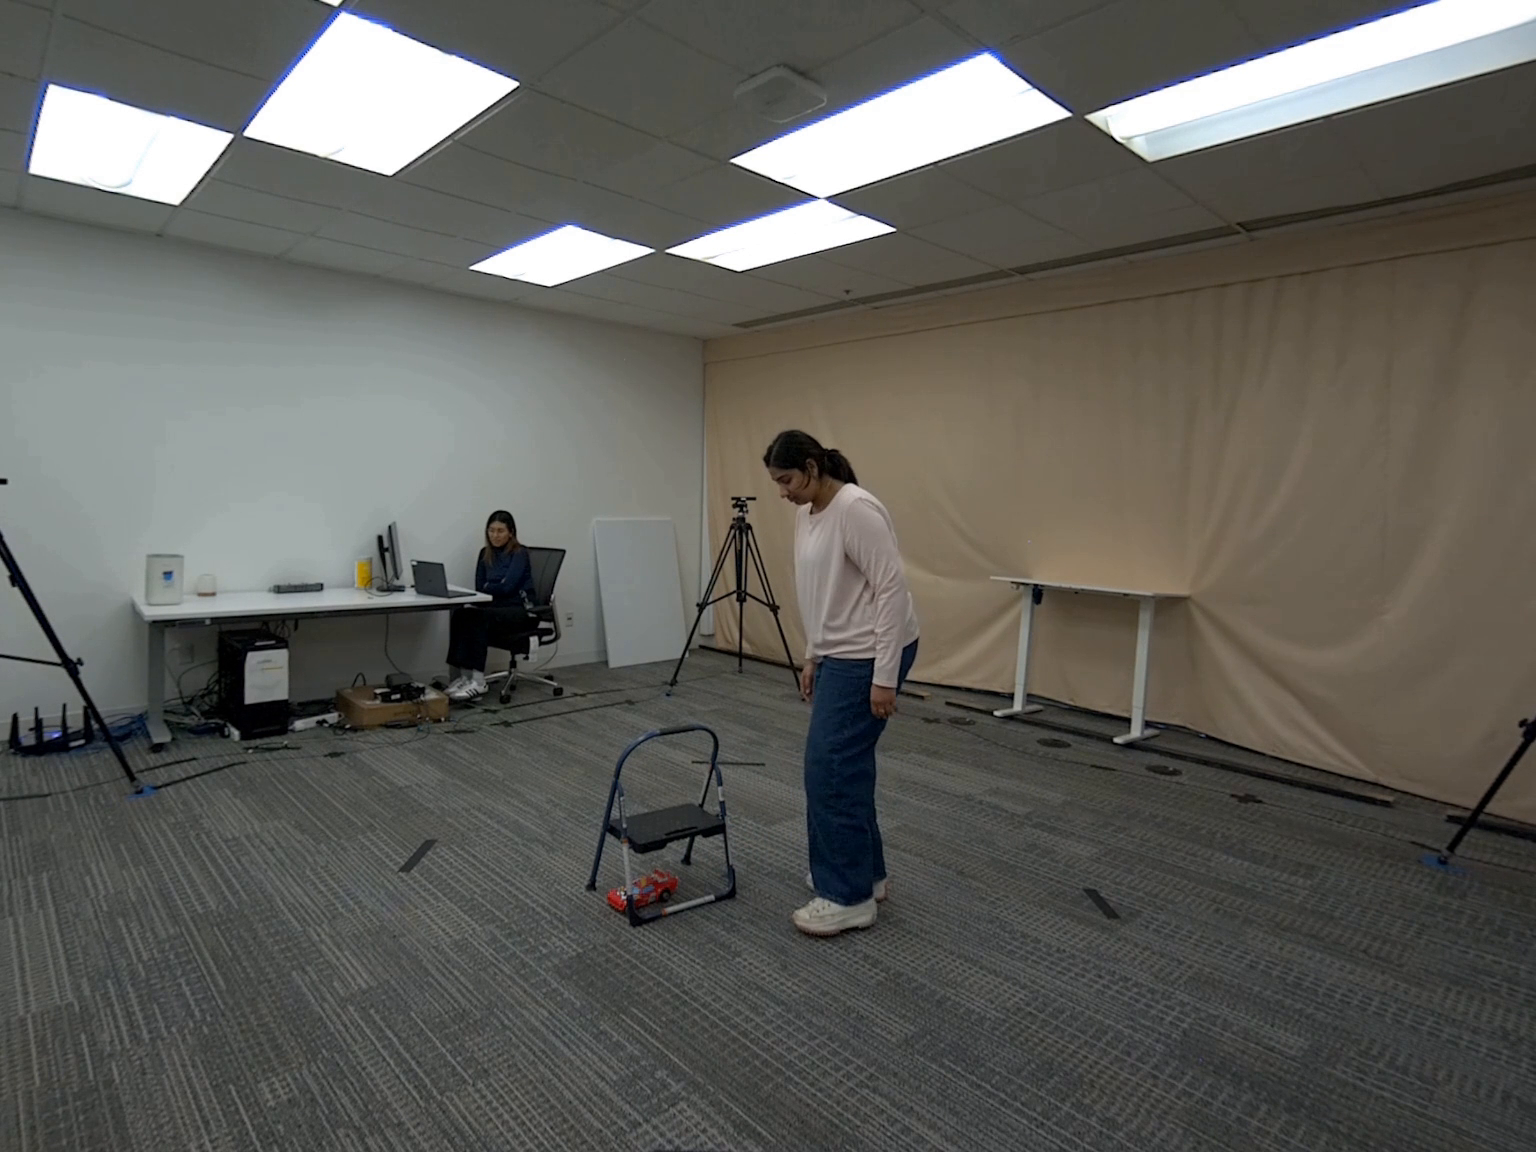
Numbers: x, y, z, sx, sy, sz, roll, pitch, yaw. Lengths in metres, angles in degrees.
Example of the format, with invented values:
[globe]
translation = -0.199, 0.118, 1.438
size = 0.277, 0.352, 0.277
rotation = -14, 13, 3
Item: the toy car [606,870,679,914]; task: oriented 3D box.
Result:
[toy car]
translation = -0.429, 1.081, 2.897
size = 0.250, 0.082, 0.133
rotation = -18, 15, -39
